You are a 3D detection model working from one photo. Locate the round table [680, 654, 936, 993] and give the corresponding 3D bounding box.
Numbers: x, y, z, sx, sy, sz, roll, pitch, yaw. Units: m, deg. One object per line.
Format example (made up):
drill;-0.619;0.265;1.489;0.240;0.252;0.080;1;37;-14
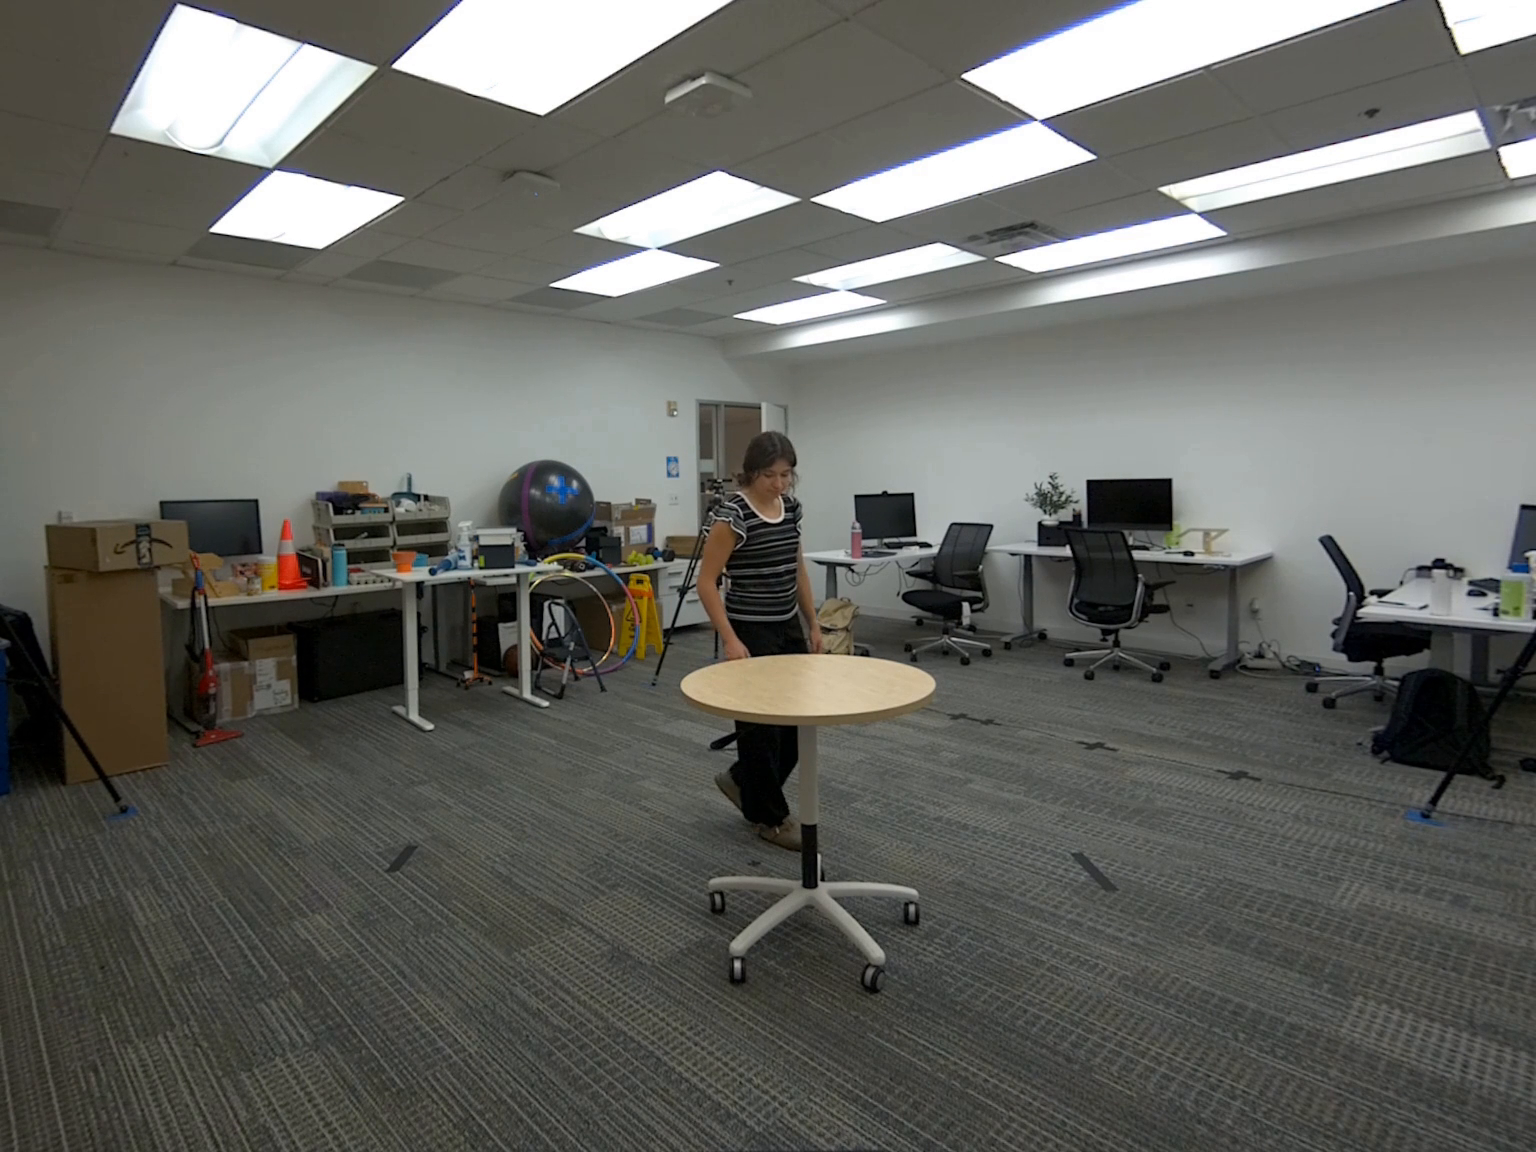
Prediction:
round table;0.130;0.713;2.619;0.763;0.791;0.768;-2;5;-2
